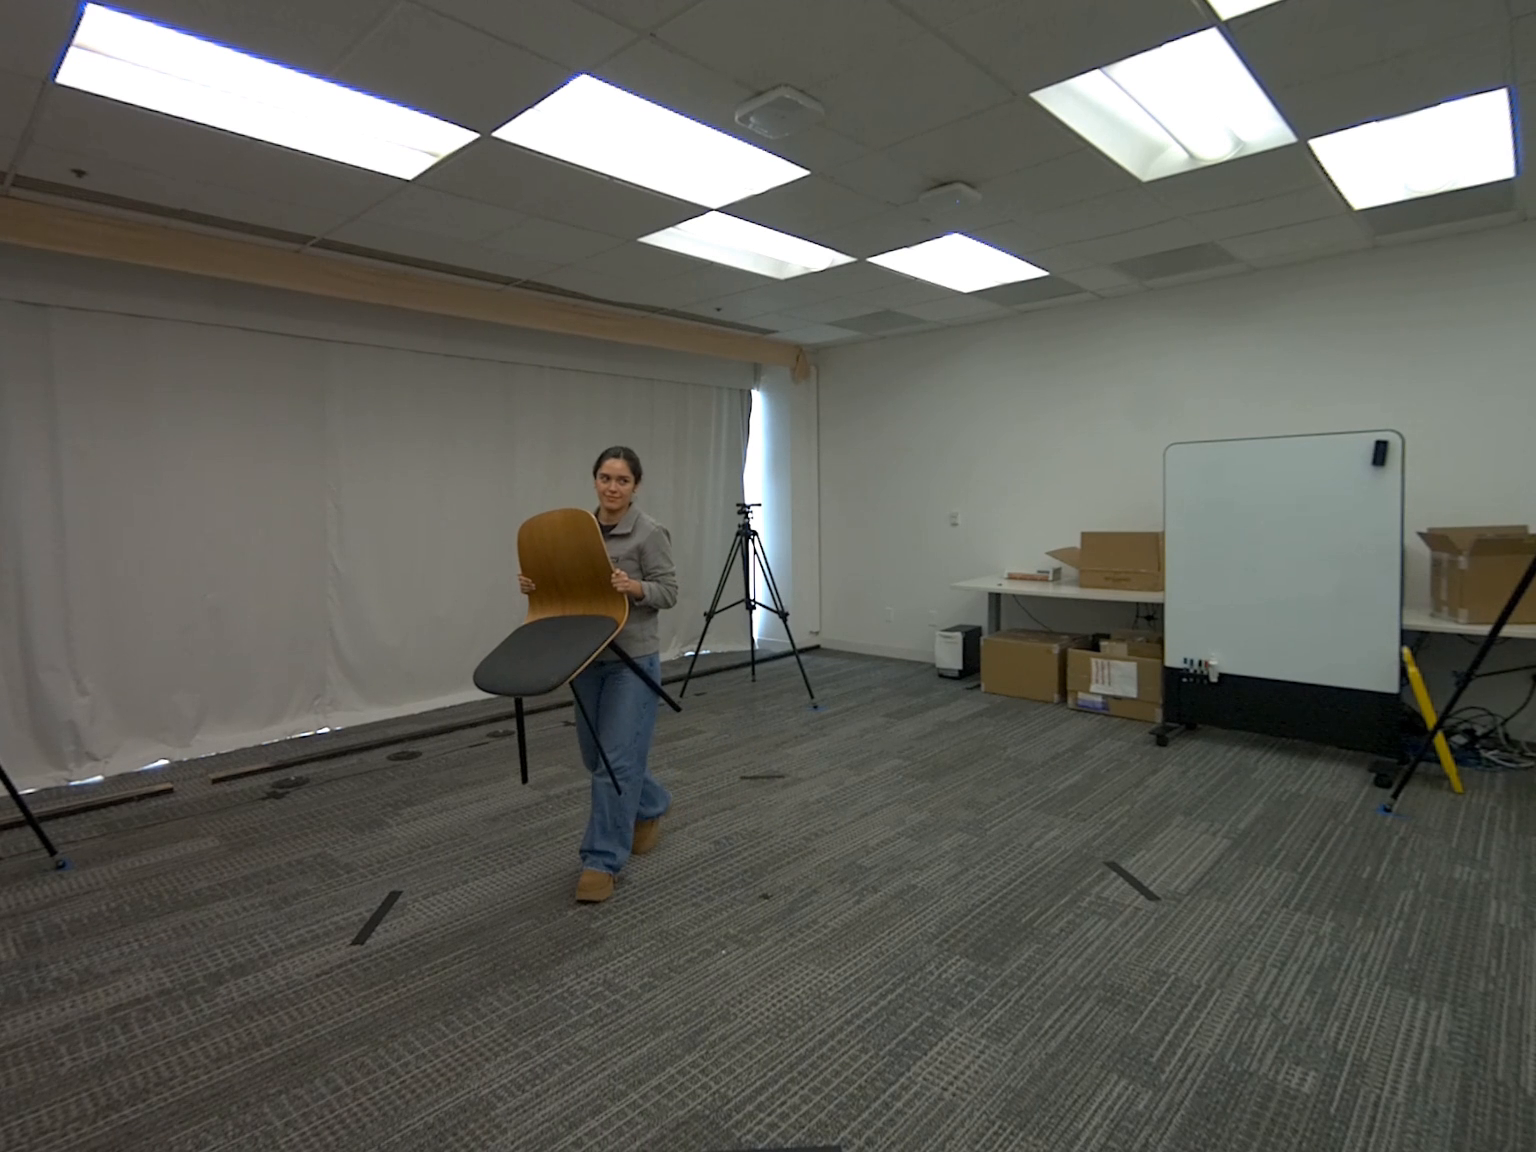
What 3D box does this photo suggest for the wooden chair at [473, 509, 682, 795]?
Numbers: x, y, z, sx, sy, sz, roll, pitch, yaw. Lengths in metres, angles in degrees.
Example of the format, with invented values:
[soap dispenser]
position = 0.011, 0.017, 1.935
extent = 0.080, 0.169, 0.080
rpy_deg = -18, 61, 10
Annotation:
[wooden chair]
position = -0.715, 0.270, 2.925
extent = 0.491, 0.863, 0.518
rpy_deg = -3, 23, 30
